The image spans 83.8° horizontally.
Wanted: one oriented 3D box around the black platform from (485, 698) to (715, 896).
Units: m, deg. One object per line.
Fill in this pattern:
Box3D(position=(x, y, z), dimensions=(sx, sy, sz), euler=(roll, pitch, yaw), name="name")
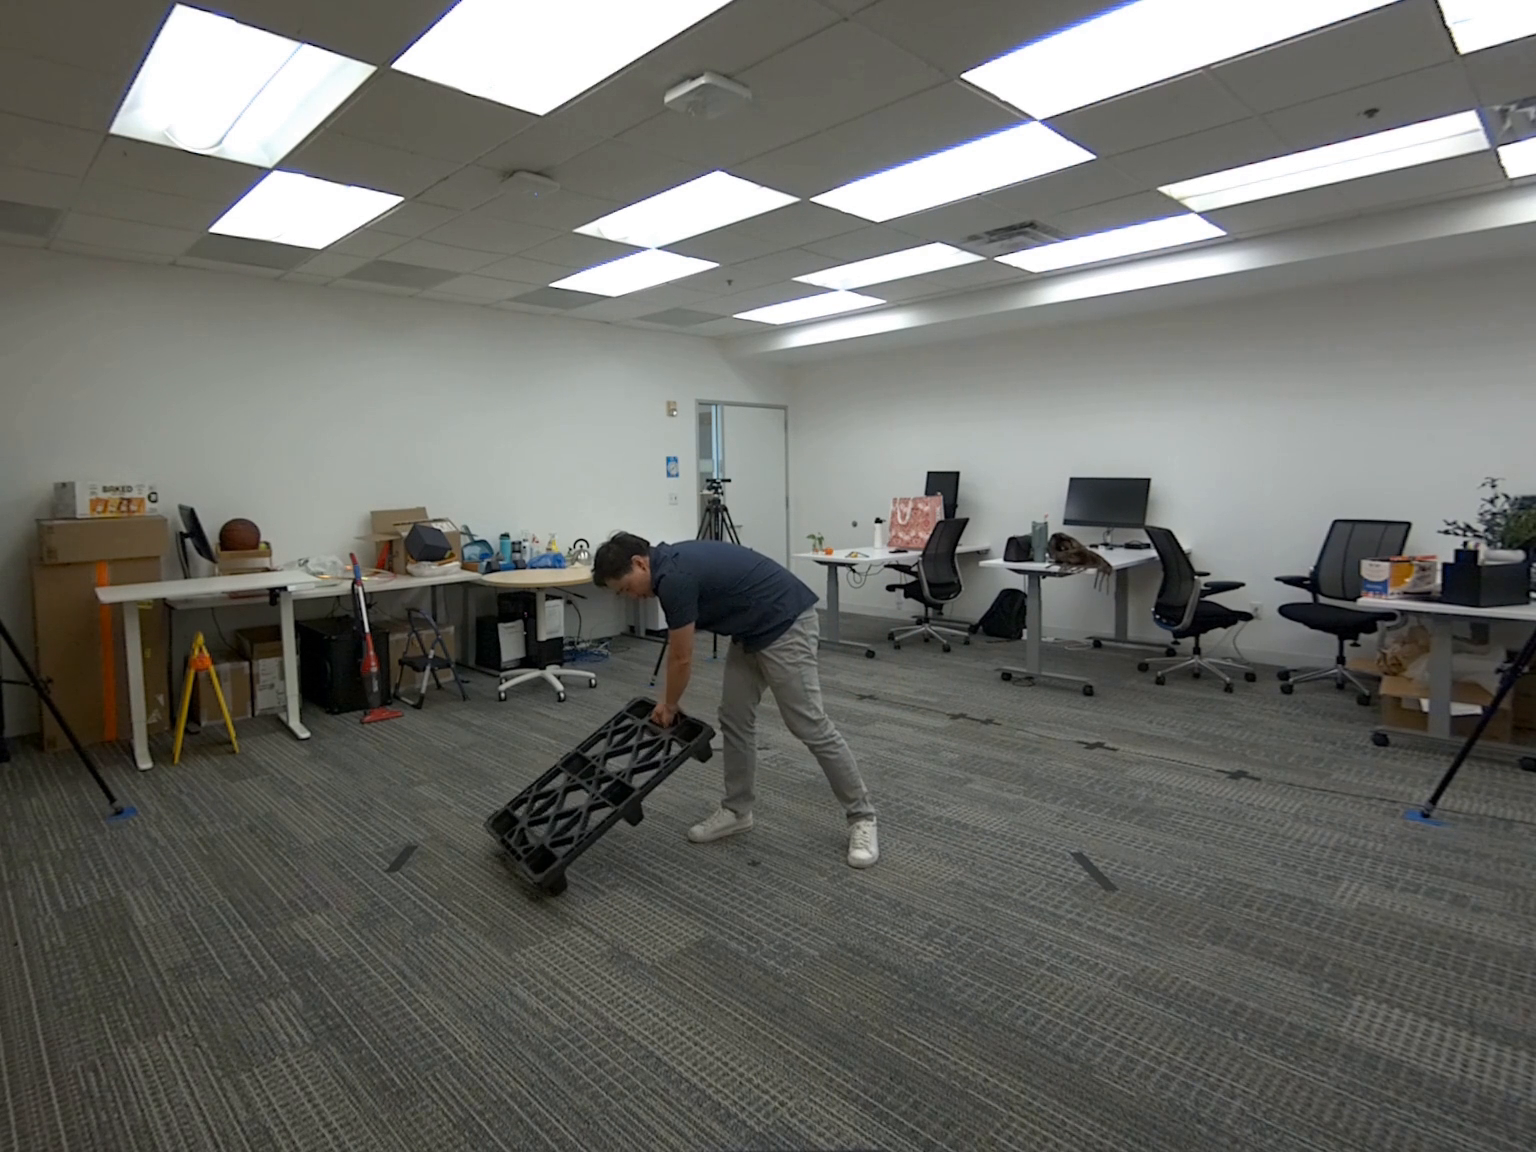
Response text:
Box3D(position=(-0.608, 0.801, 3.213), dimensions=(0.802, 0.140, 0.623), euler=(-40, 25, -26), name="black platform")
